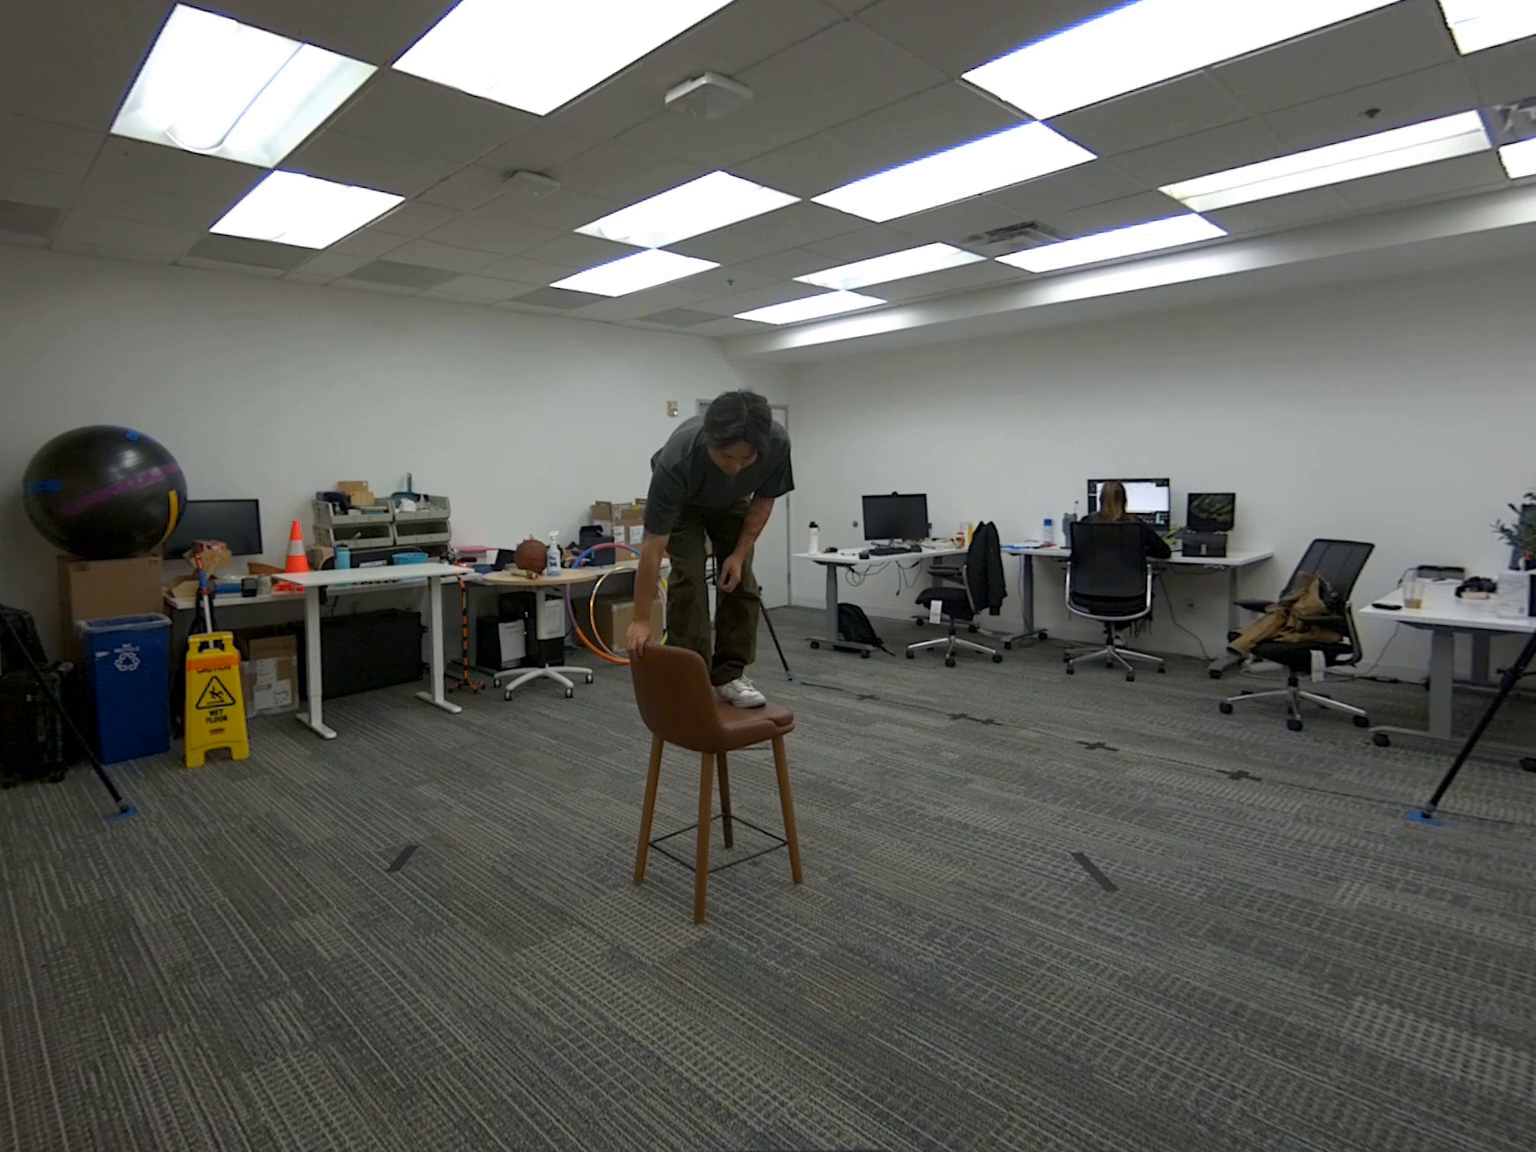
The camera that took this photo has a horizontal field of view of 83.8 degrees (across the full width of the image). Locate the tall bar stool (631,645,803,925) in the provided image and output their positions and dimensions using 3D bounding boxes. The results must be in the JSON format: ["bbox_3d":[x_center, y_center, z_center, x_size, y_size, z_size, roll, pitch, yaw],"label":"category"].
[{"bbox_3d":[-0.189,0.630,2.935,0.456,0.885,0.470,-7,7,-40],"label":"tall bar stool"}]
